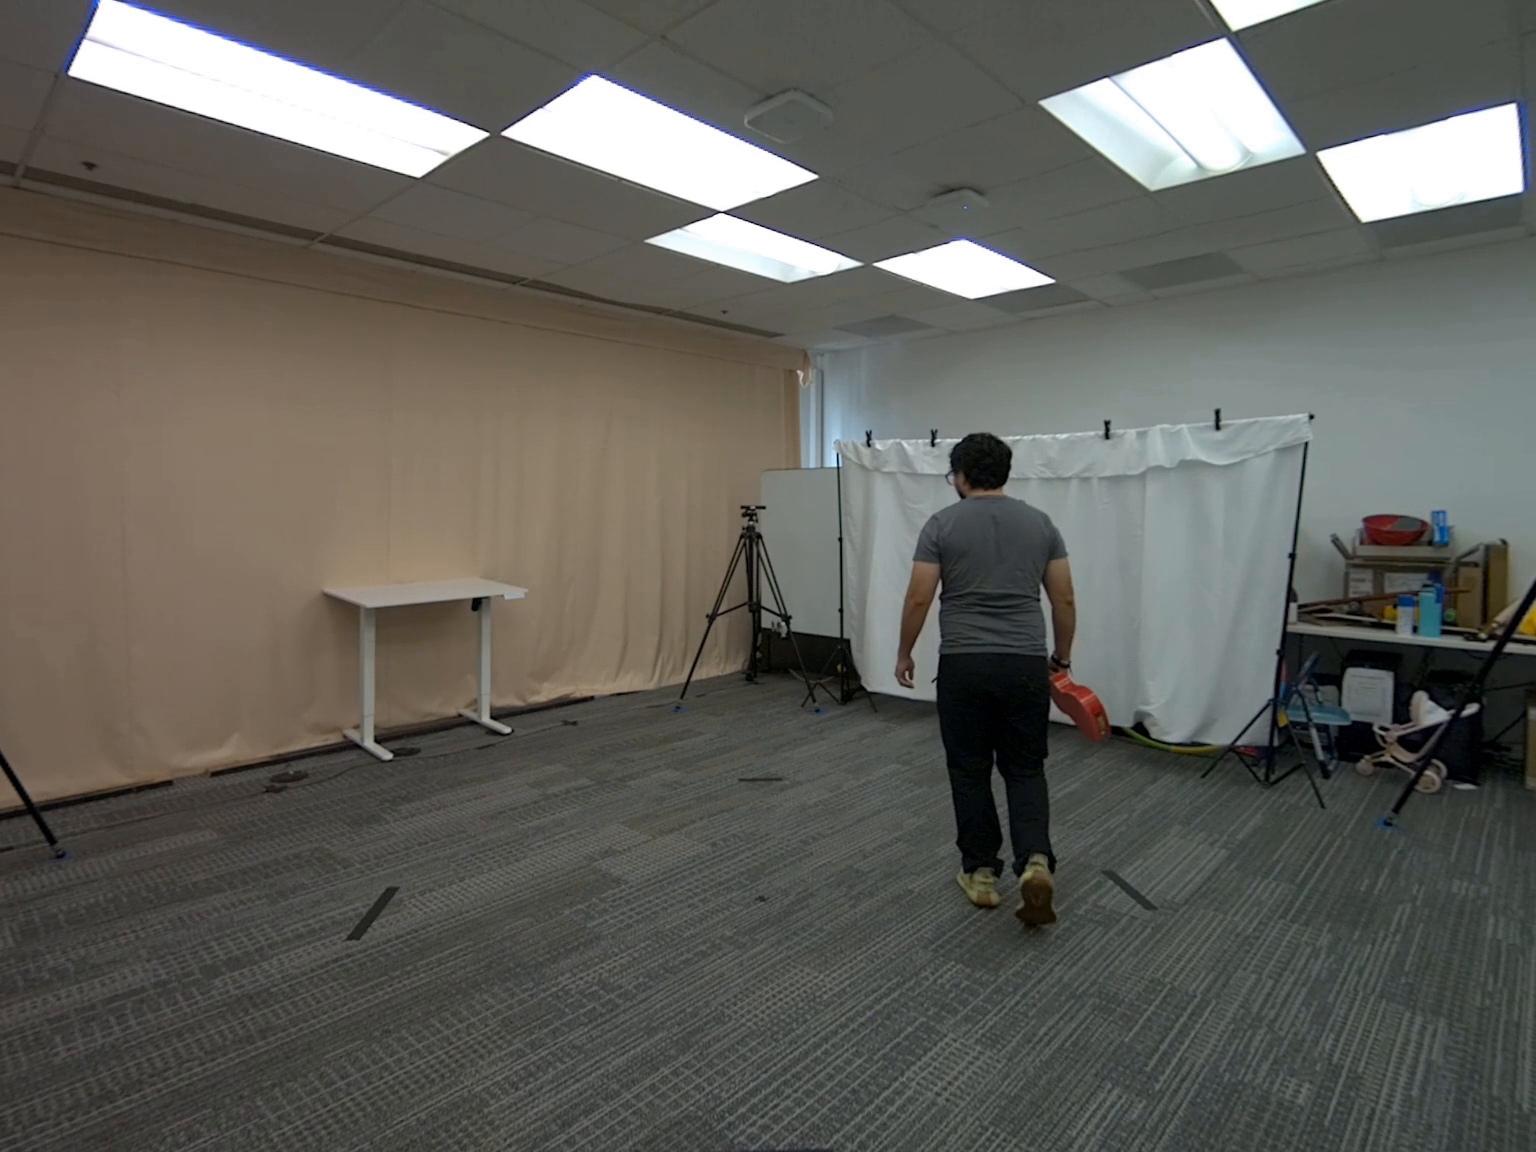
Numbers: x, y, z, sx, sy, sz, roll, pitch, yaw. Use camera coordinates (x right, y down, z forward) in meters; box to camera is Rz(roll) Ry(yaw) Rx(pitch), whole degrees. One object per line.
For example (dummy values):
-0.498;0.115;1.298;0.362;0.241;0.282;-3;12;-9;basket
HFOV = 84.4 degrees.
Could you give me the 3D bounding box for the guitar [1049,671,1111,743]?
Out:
1.061;0.433;3.000;0.070;0.190;0.505;-28;15;-2;guitar
